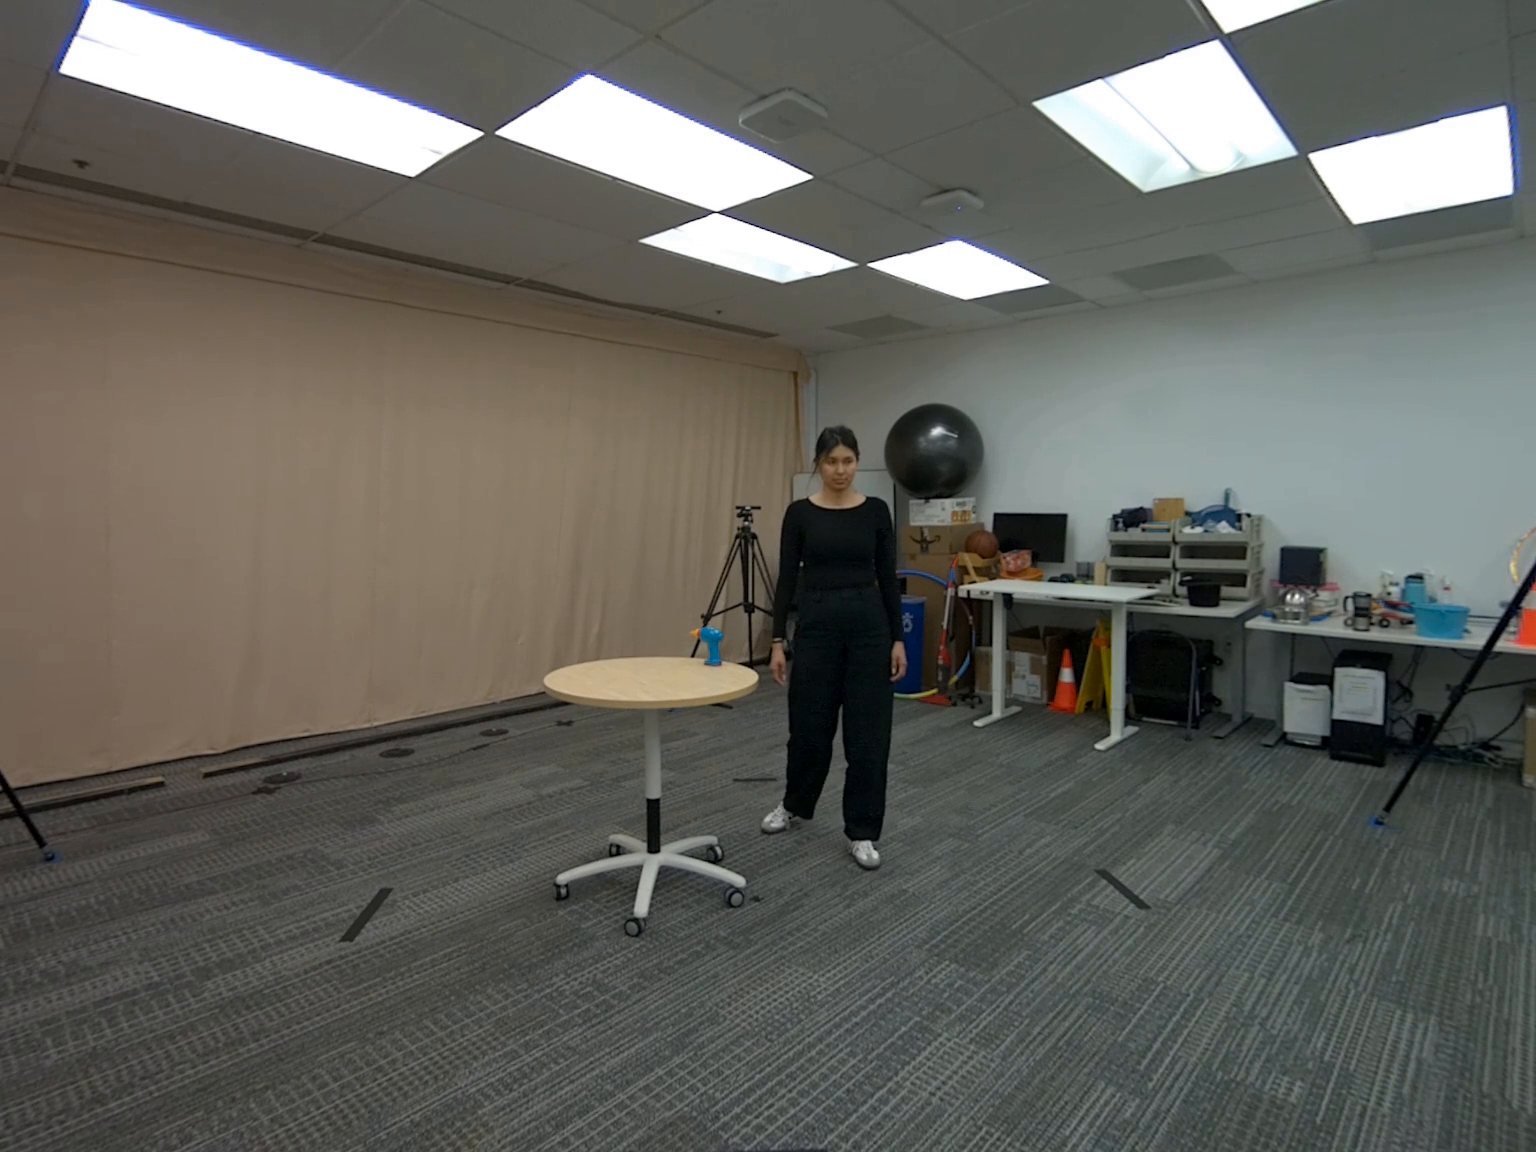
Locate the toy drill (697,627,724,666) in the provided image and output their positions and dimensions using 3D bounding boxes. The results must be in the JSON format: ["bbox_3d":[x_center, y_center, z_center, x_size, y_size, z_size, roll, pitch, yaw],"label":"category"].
[{"bbox_3d":[-0.242,0.267,3.251,0.174,0.145,0.060,3,6,28],"label":"toy drill"}]
